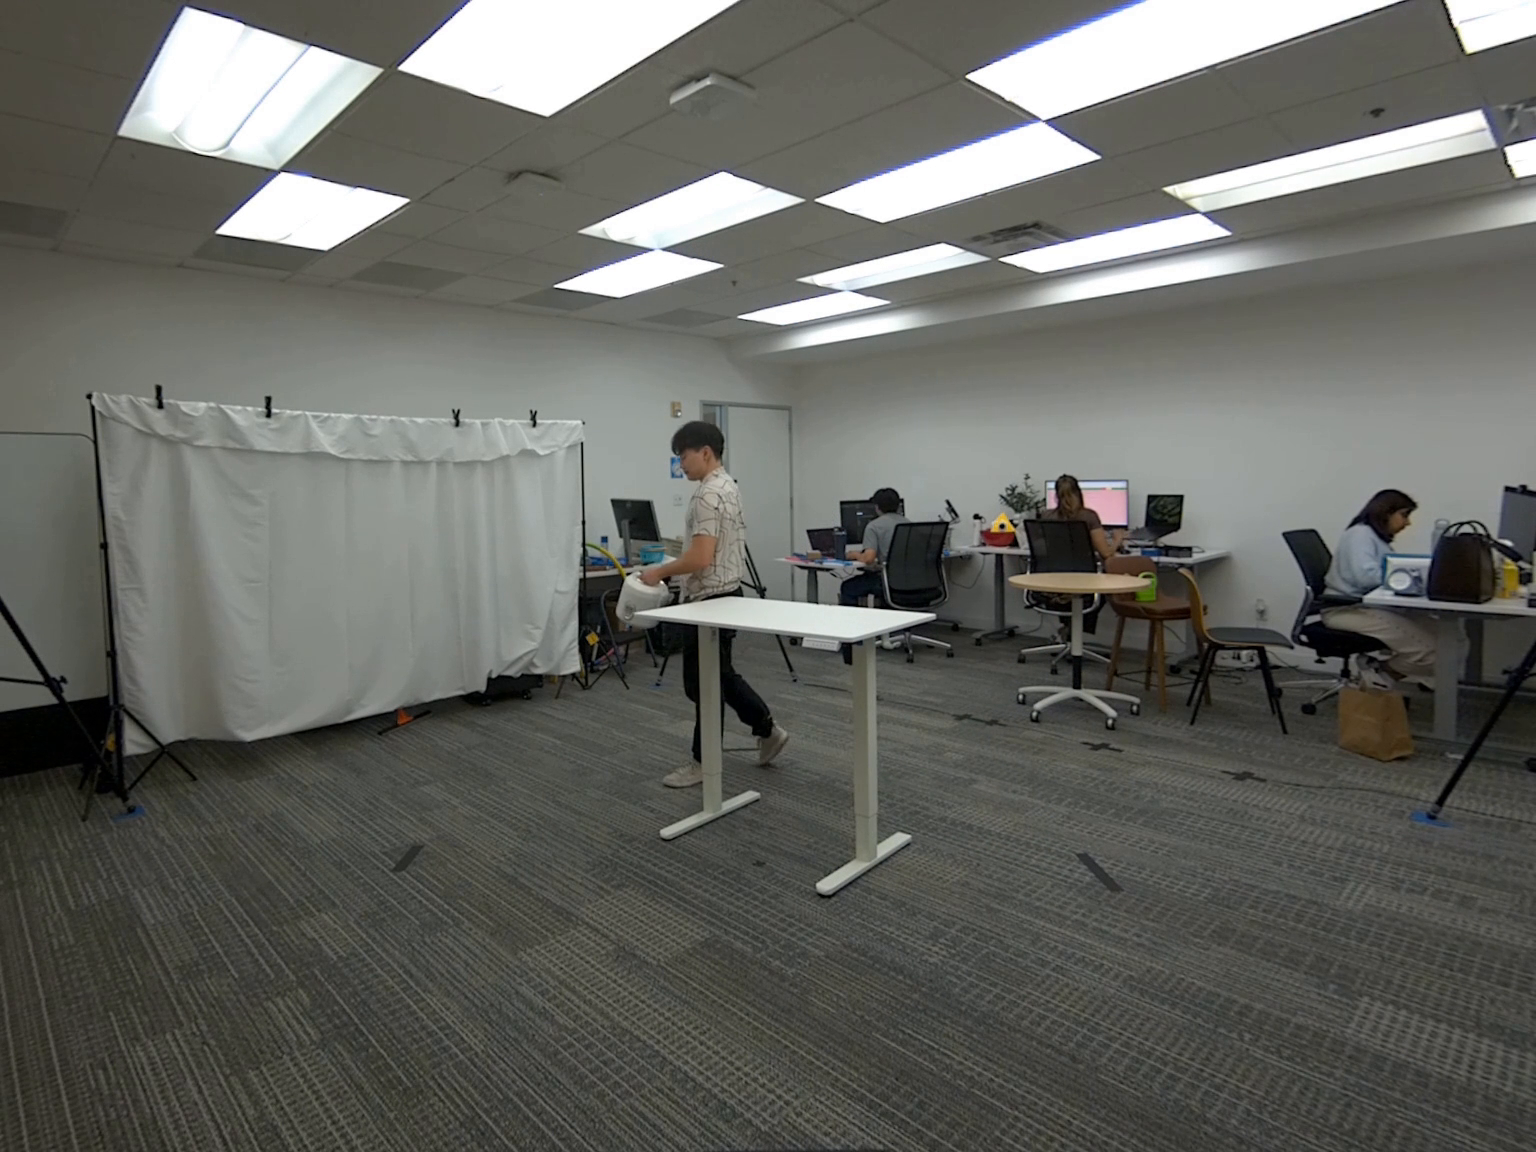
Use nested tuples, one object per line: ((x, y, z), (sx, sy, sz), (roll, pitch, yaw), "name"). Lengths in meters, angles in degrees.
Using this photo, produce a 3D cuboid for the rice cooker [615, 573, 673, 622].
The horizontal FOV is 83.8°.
((-0.566, 0.103, 3.923), (0.226, 0.231, 0.214), (23, 16, 18), "rice cooker")
